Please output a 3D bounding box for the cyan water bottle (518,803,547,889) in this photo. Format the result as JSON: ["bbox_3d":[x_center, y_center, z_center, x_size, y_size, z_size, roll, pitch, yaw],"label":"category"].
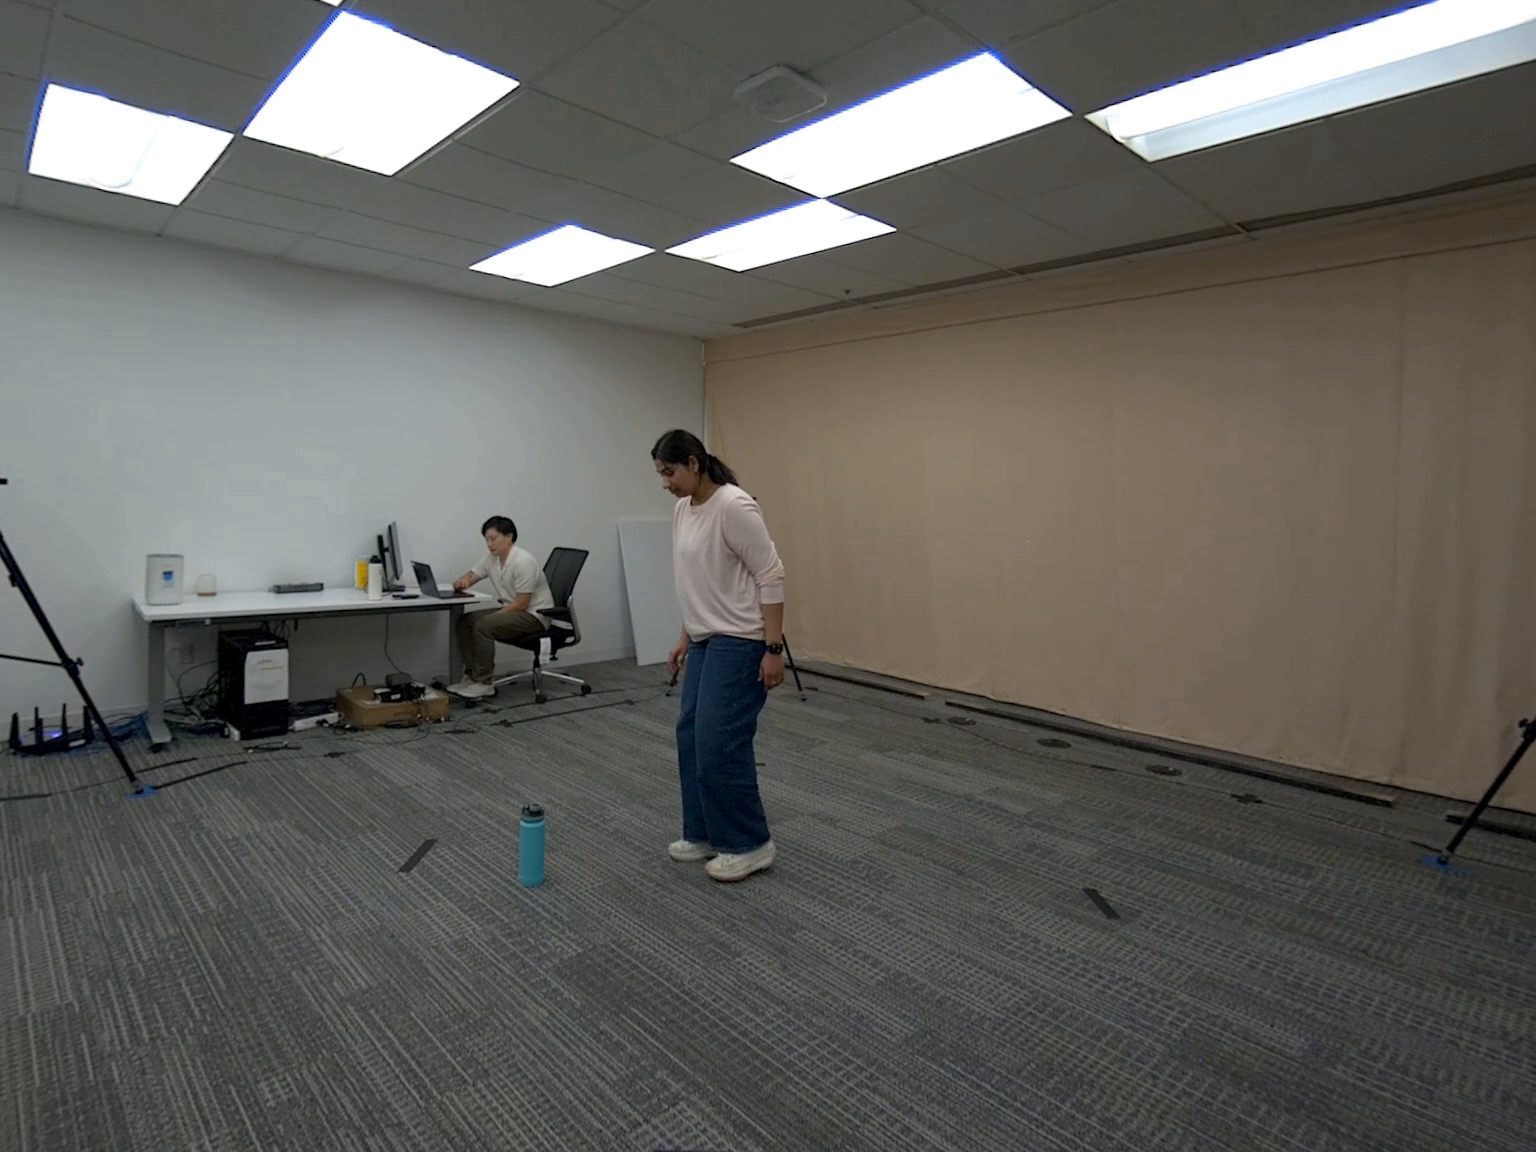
[{"bbox_3d":[-0.857,0.962,3.012,0.092,0.282,0.093,0,4,-1],"label":"cyan water bottle"}]
